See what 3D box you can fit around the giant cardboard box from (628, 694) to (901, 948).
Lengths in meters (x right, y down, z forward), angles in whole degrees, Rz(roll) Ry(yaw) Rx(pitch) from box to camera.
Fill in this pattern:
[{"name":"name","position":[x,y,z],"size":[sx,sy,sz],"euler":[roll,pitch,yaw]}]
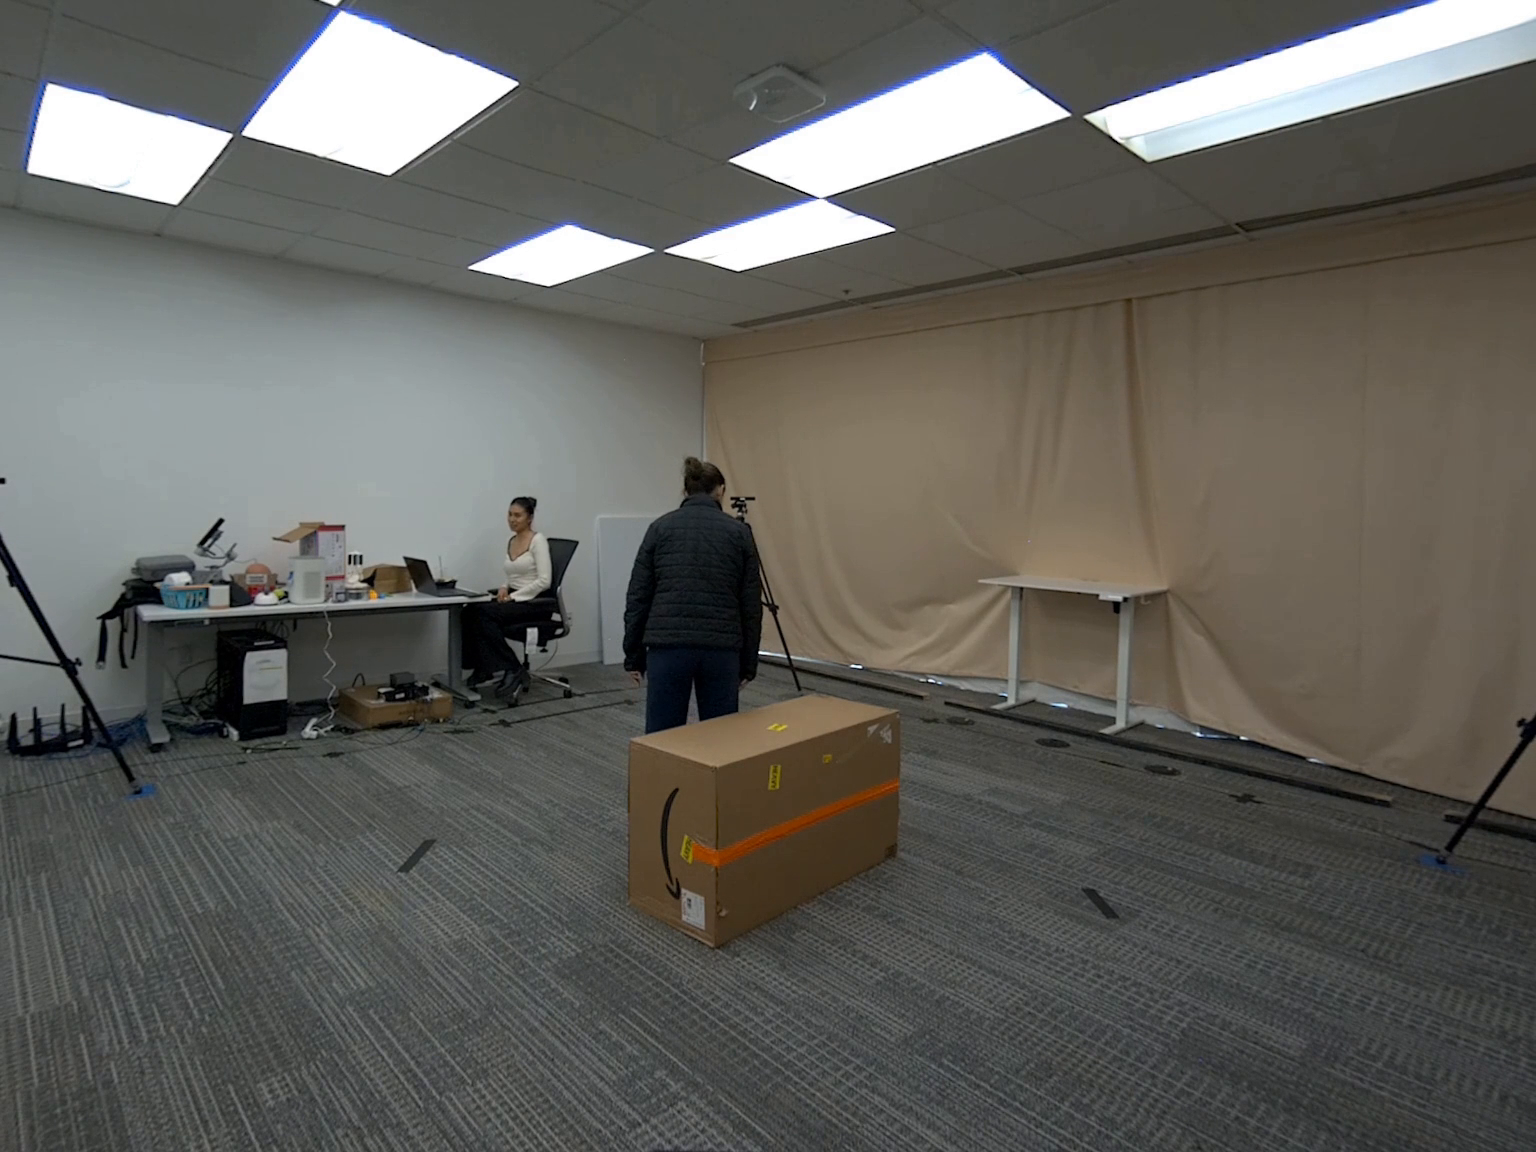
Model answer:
[{"name":"giant cardboard box","position":[0.022,0.829,3.071],"size":[0.437,0.576,1.003],"euler":[3,5,42]}]
